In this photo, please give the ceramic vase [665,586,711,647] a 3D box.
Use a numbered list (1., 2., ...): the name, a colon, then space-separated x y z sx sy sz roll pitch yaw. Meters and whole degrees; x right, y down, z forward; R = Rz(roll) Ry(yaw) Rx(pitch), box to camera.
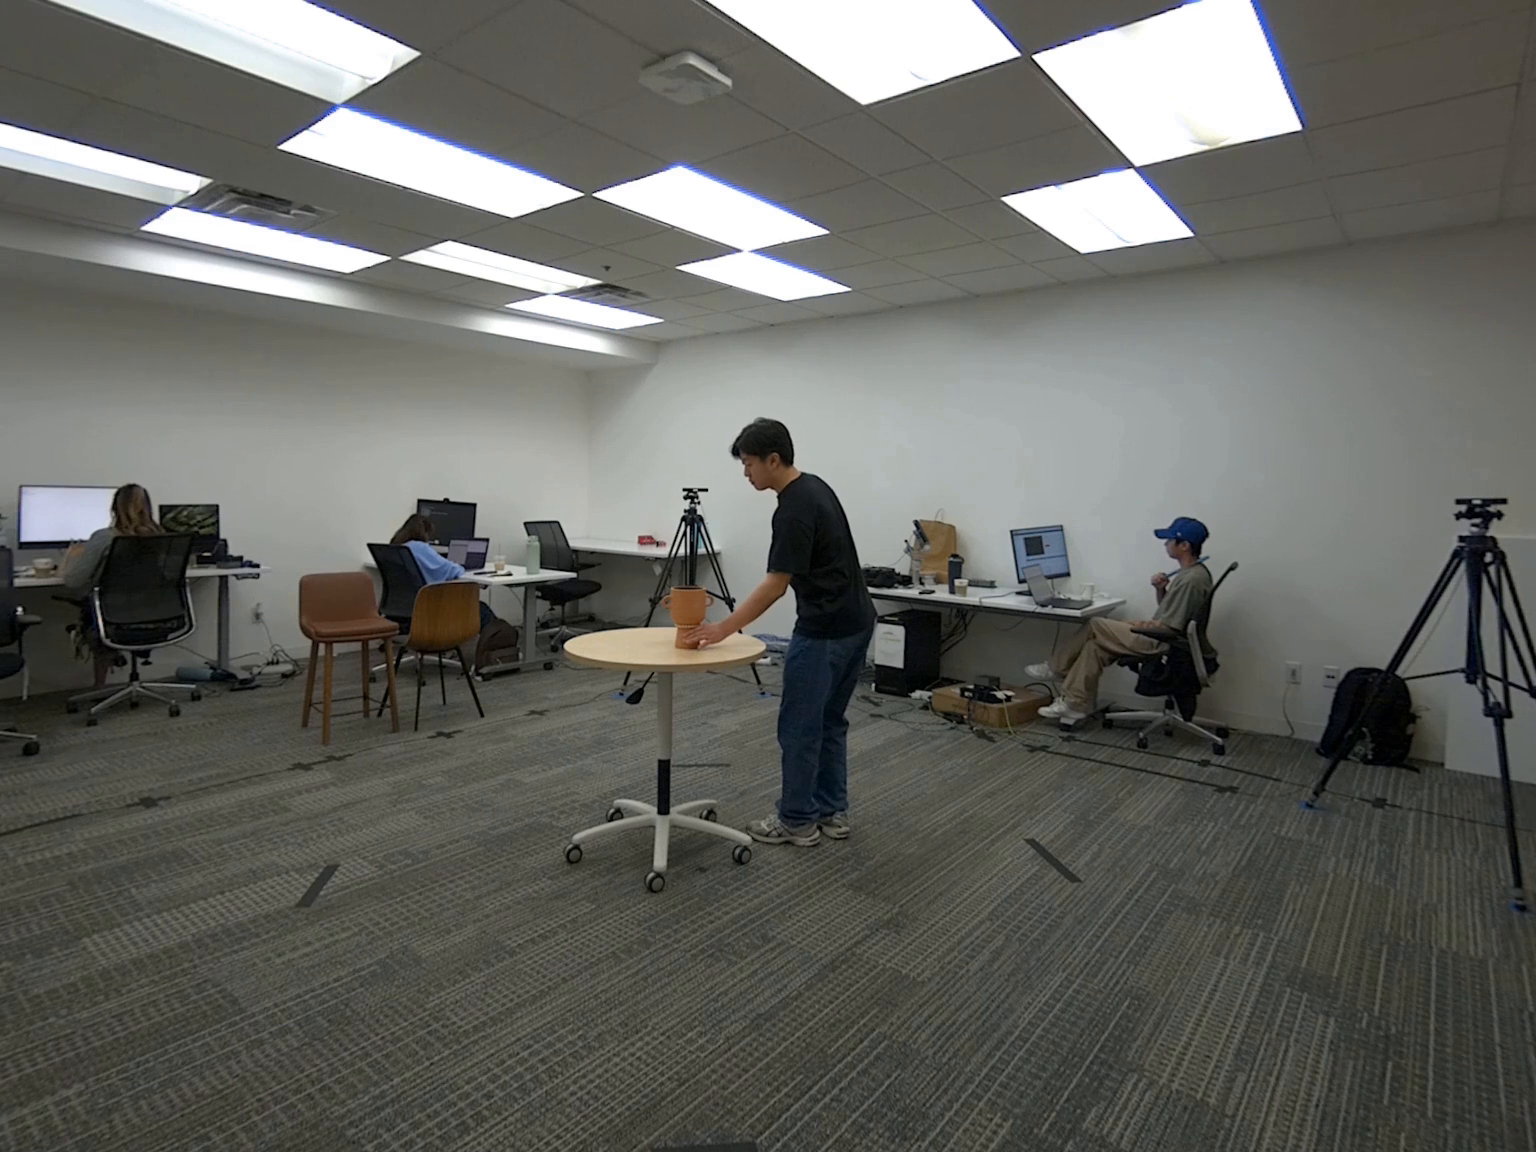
1. ceramic vase: -0.312 0.152 3.195 0.163 0.219 0.132 4 5 22
